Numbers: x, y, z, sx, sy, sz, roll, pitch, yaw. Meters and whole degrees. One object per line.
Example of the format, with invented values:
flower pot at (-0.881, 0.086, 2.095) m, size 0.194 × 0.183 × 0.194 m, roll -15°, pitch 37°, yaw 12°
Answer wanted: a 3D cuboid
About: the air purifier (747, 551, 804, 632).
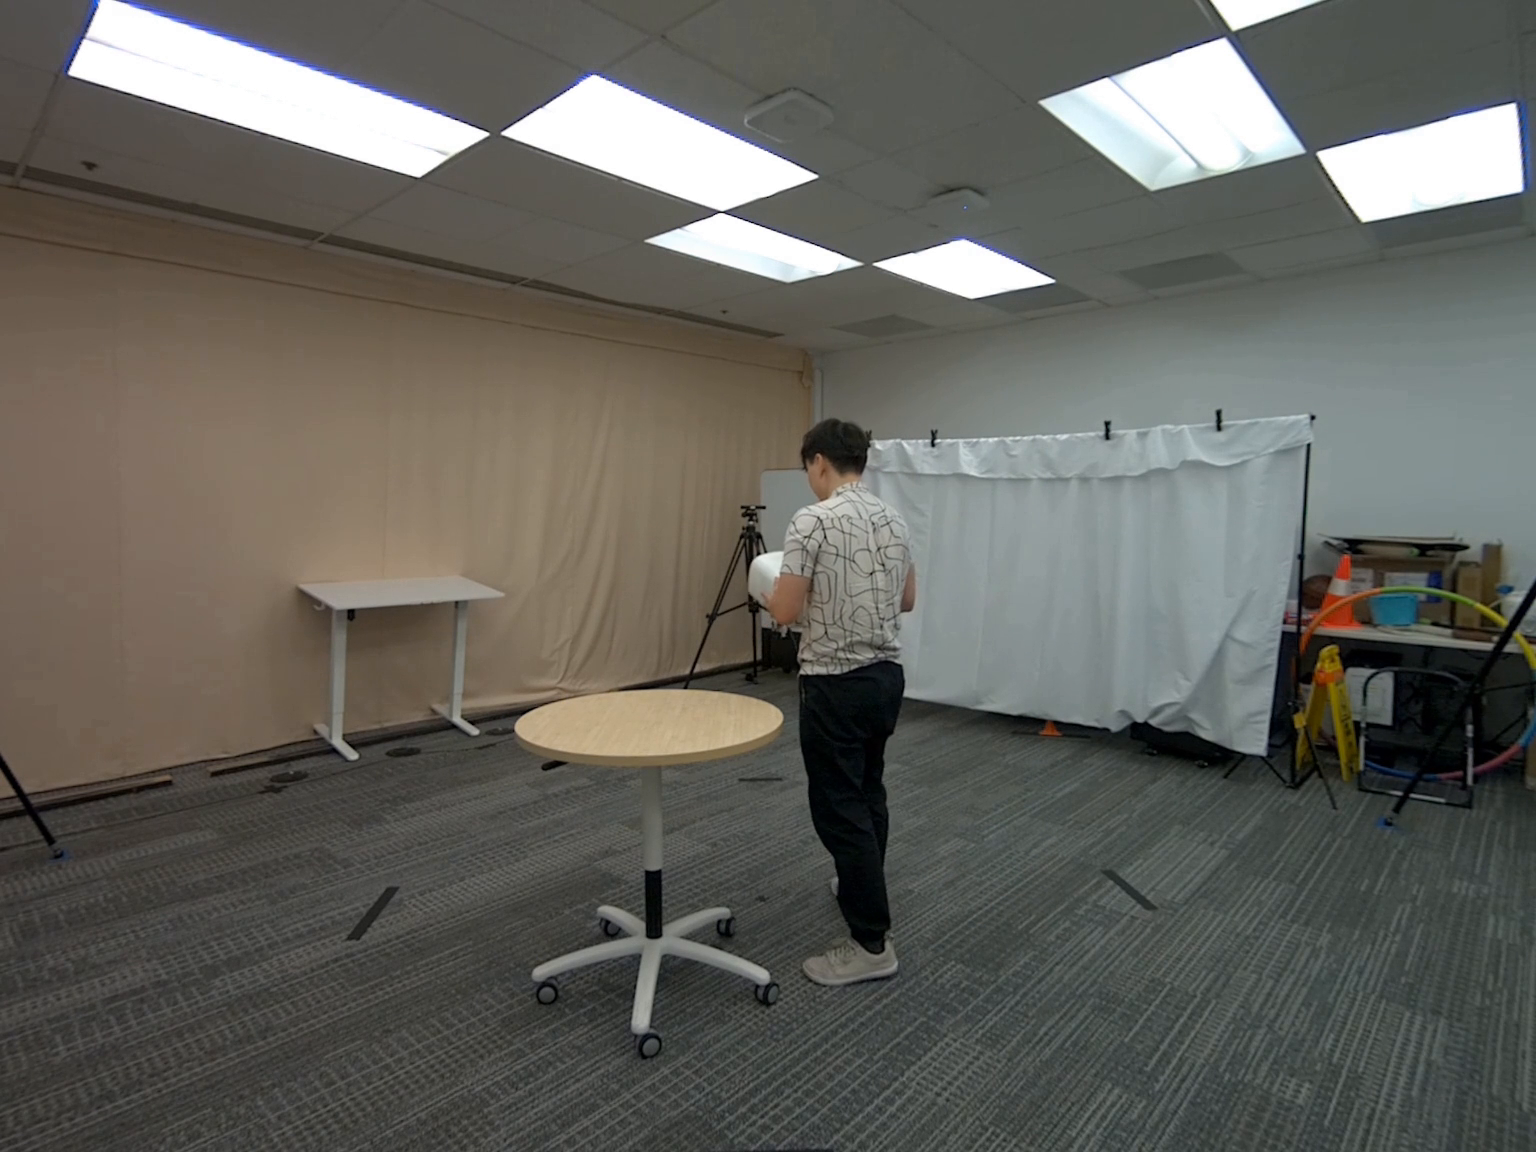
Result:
air purifier at (0.074, 0.045, 2.922) m, size 0.167 × 0.169 × 0.275 m, roll -11°, pitch 31°, yaw -30°
